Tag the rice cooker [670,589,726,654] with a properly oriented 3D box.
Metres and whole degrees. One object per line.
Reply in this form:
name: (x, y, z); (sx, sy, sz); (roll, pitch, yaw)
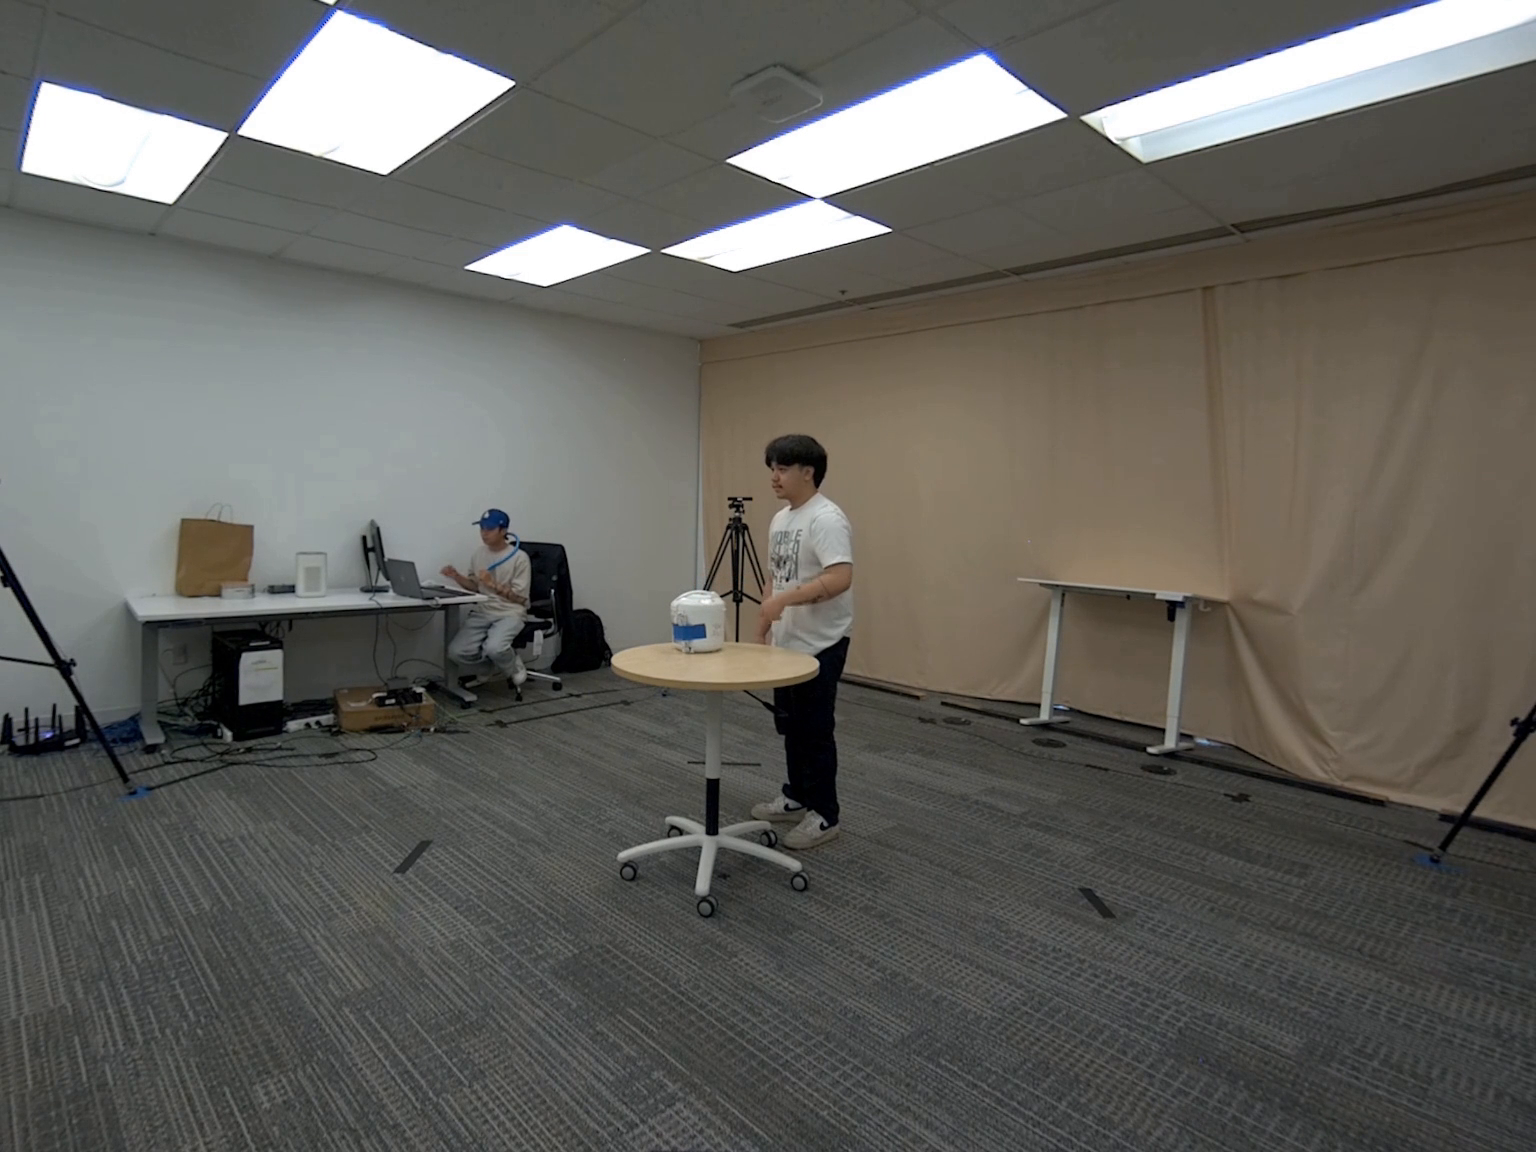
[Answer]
rice cooker: (-0.284, 0.174, 3.305); (0.217, 0.232, 0.221); (0, 5, -21)
